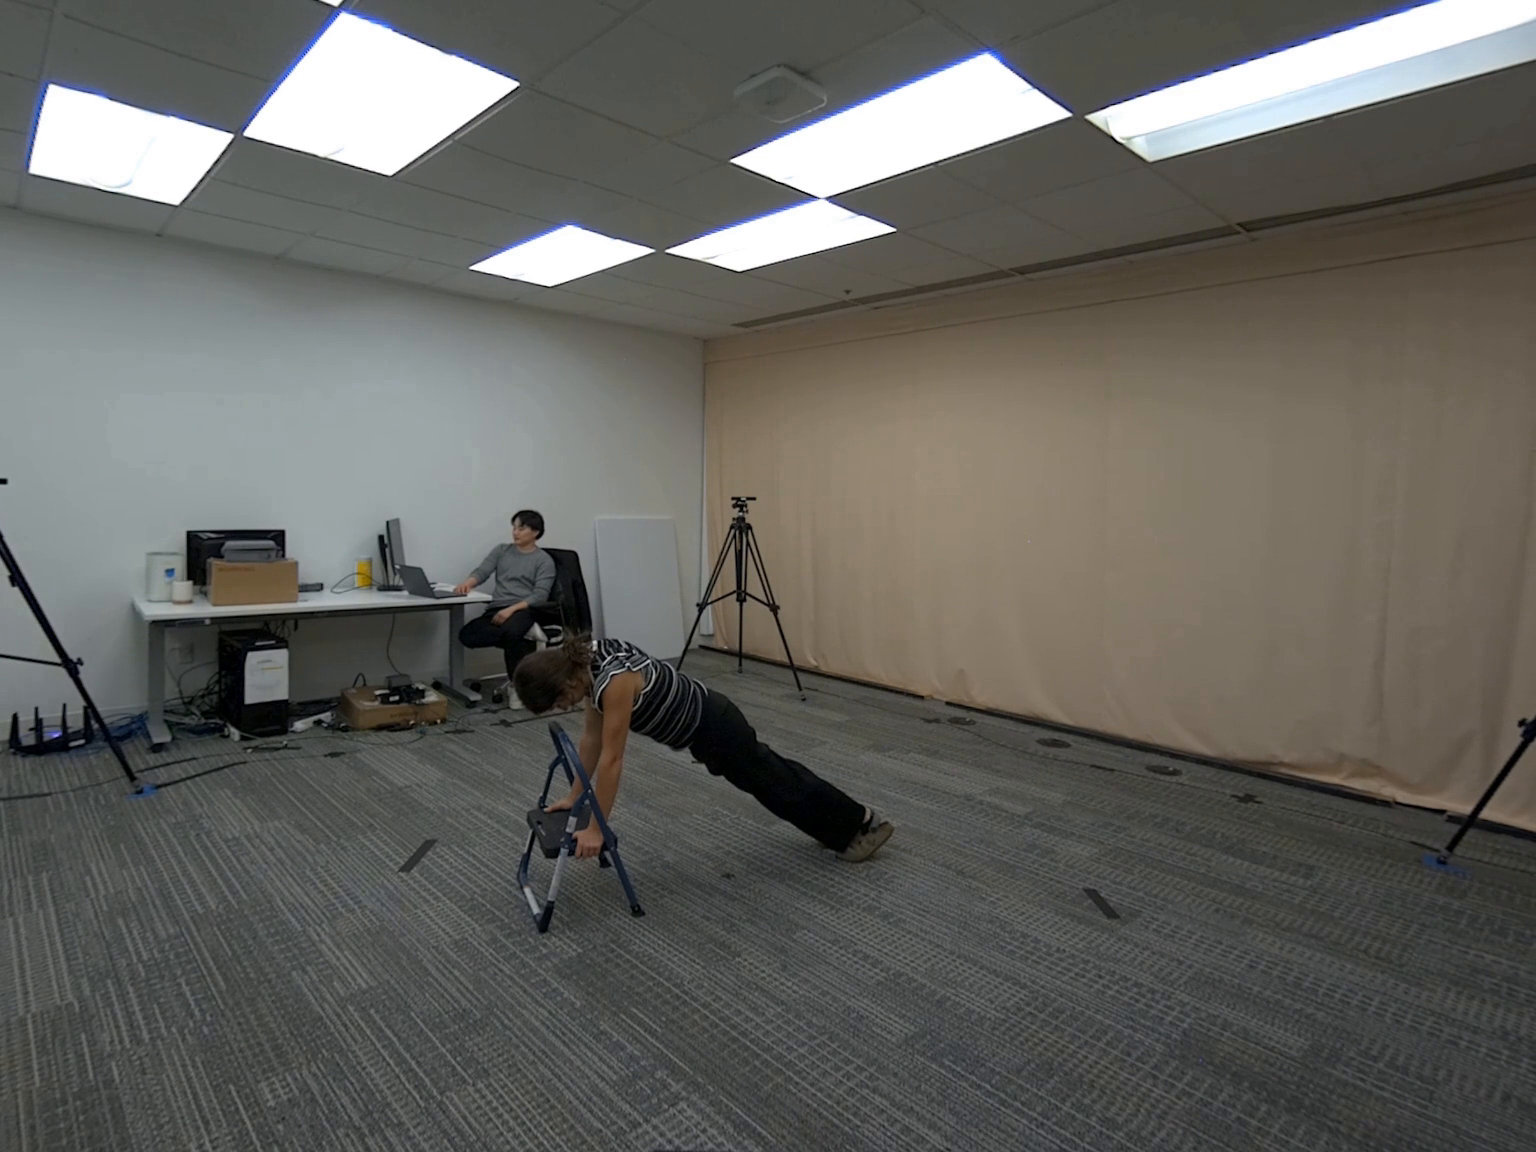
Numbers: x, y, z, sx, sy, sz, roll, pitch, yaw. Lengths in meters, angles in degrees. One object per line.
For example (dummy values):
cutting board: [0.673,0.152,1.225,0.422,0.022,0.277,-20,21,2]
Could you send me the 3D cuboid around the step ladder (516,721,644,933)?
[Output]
step ladder: [-0.662,0.814,2.899,0.343,0.604,0.440,-1,4,-27]
